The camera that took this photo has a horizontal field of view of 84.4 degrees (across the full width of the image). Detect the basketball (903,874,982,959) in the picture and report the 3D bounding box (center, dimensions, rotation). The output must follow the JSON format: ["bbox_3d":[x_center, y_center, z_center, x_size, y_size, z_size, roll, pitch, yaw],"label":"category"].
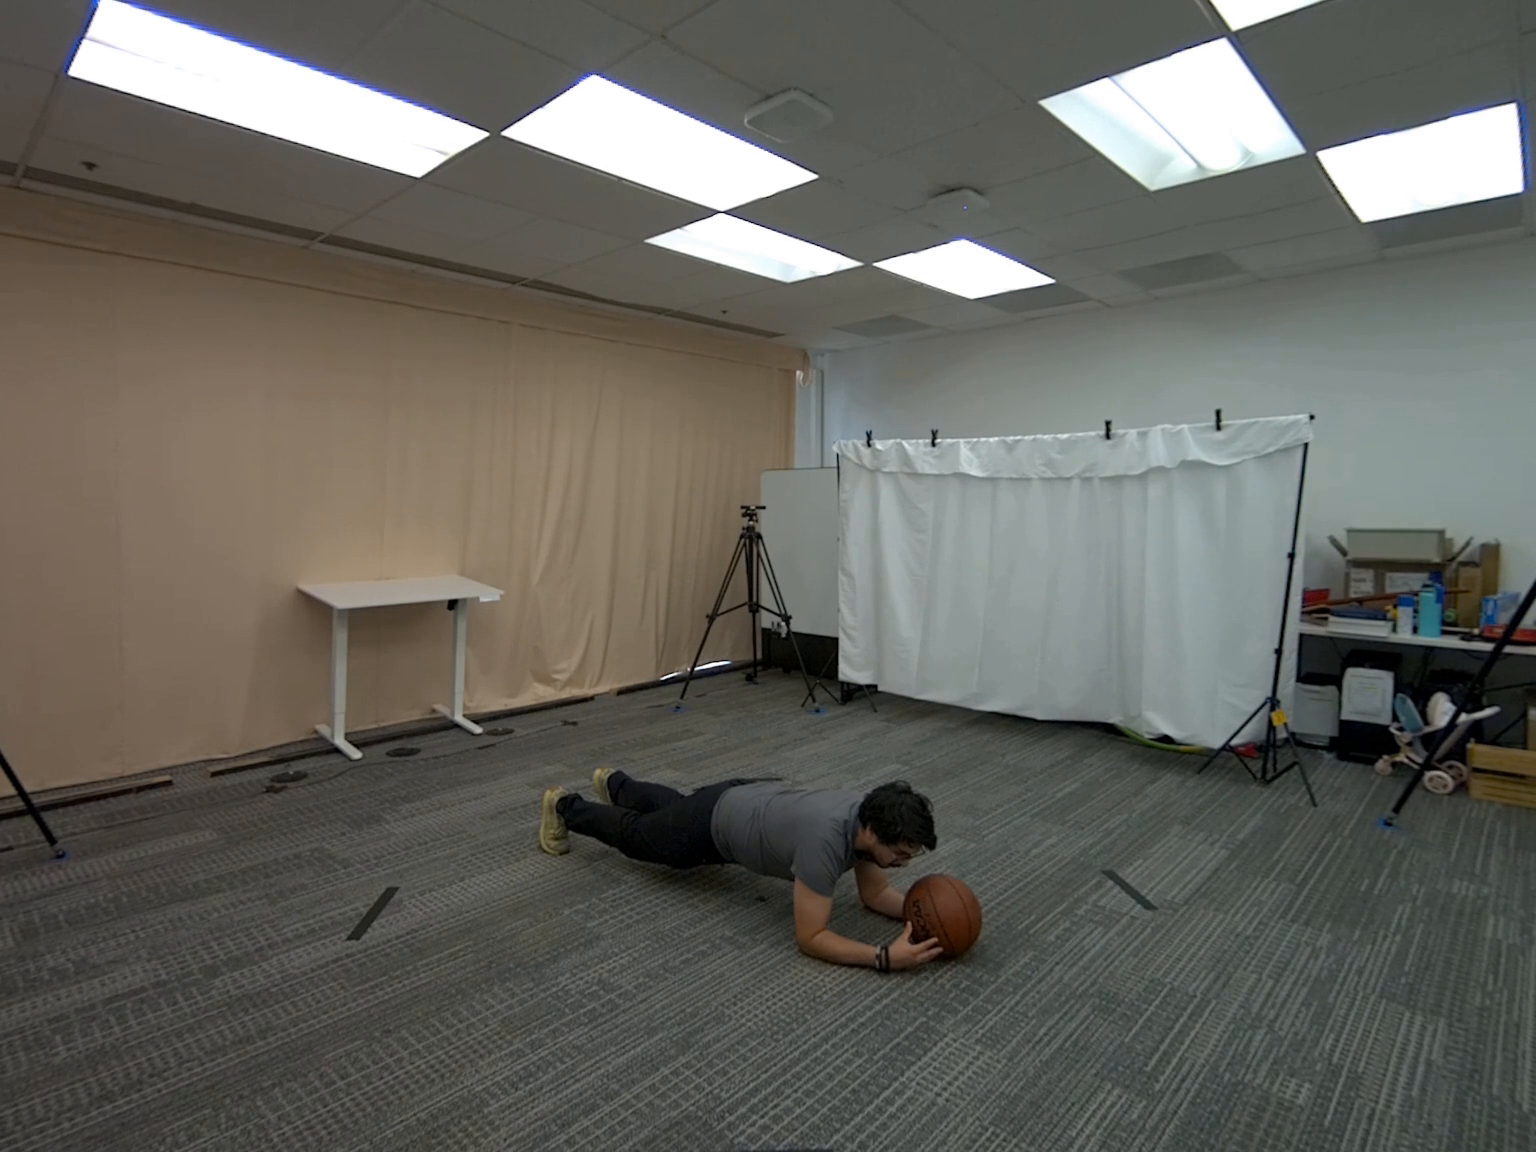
[{"bbox_3d":[0.543,1.057,2.607,0.236,0.235,0.237,0,4,-2],"label":"basketball"}]
